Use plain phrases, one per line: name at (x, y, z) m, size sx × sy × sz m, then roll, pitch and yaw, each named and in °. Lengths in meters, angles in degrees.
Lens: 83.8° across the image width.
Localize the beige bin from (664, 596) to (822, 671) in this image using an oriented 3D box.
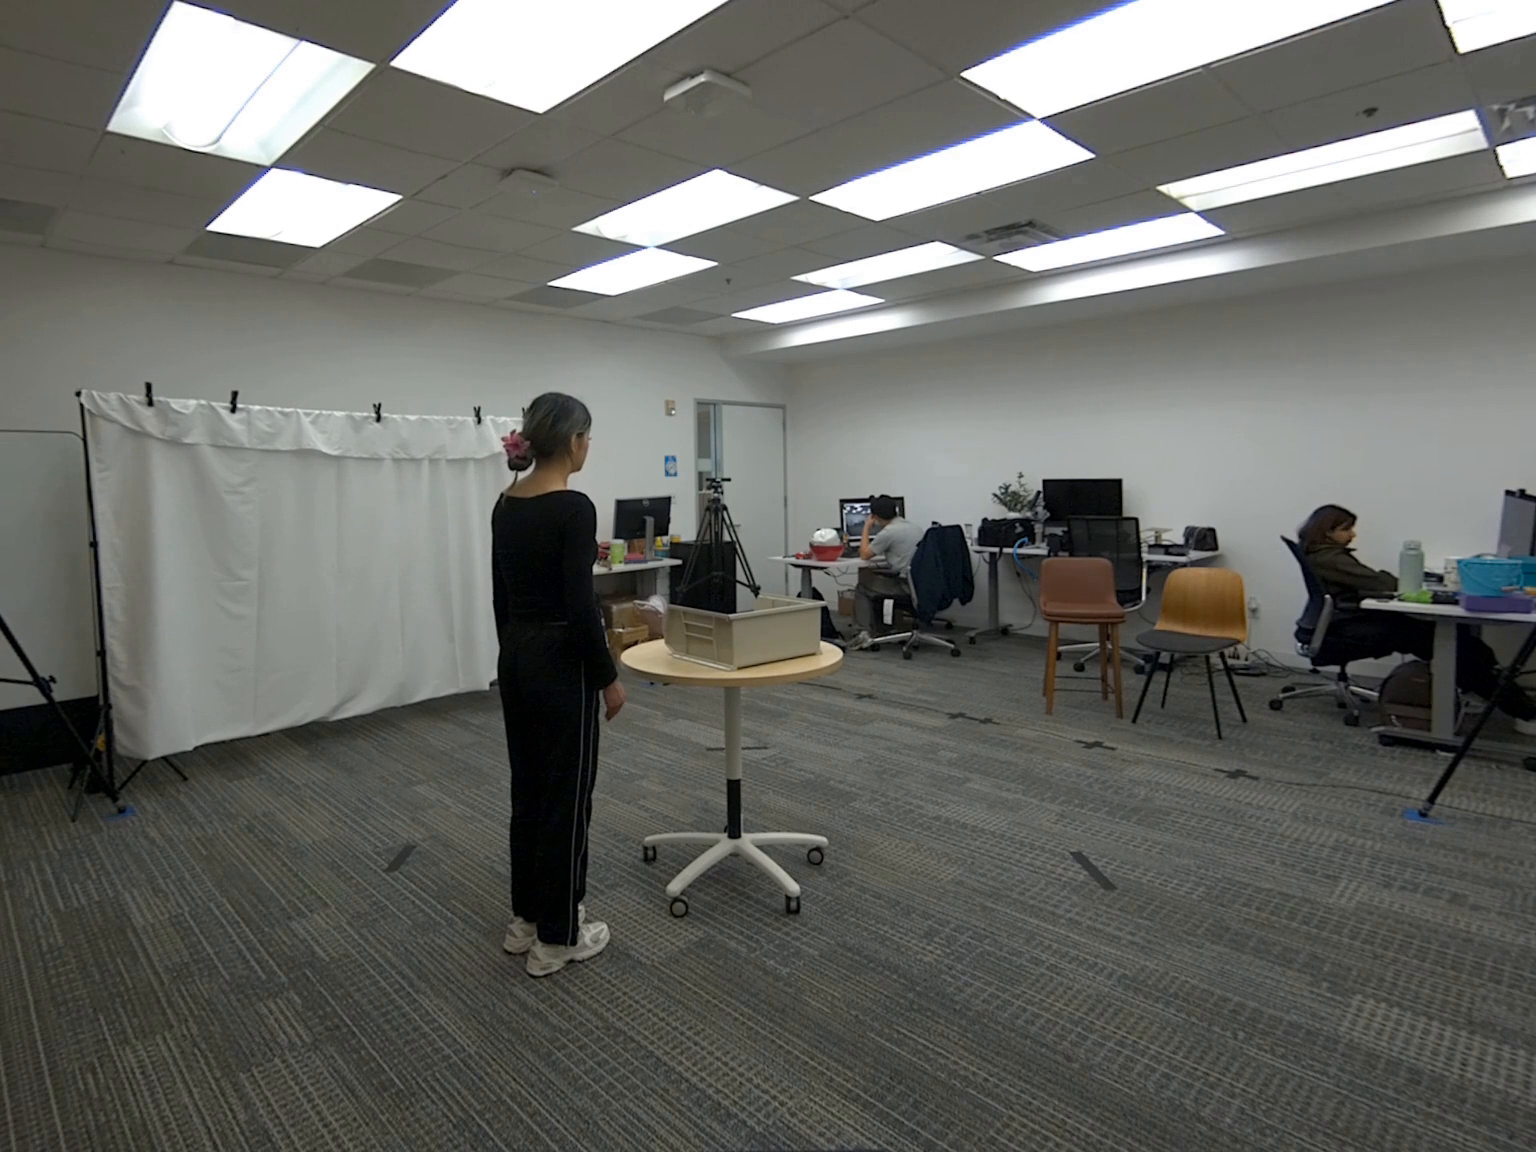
beige bin at (-0.083, 0.182, 2.920) m, size 0.411 × 0.188 × 0.389 m, roll -5°, pitch 8°, yaw -40°
